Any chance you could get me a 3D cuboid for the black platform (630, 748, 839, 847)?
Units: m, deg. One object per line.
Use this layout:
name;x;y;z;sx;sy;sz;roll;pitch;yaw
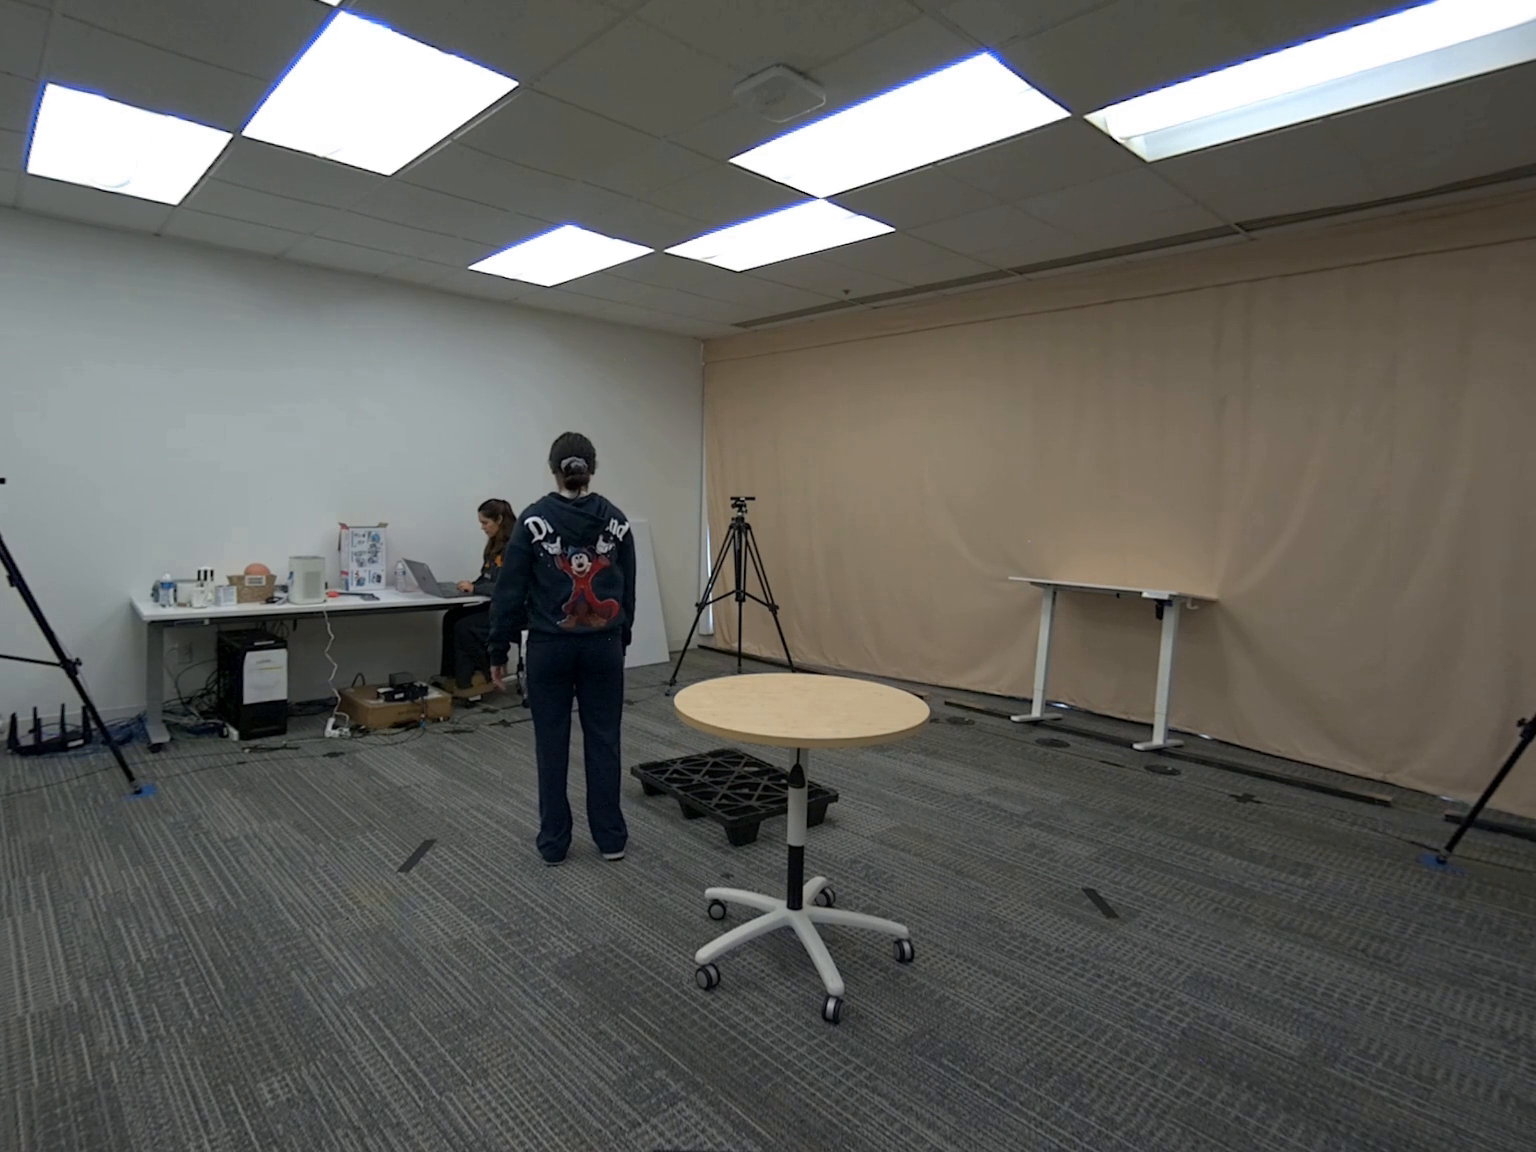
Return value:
black platform;-0.181;0.982;3.790;0.592;0.143;0.826;-3;6;-38
